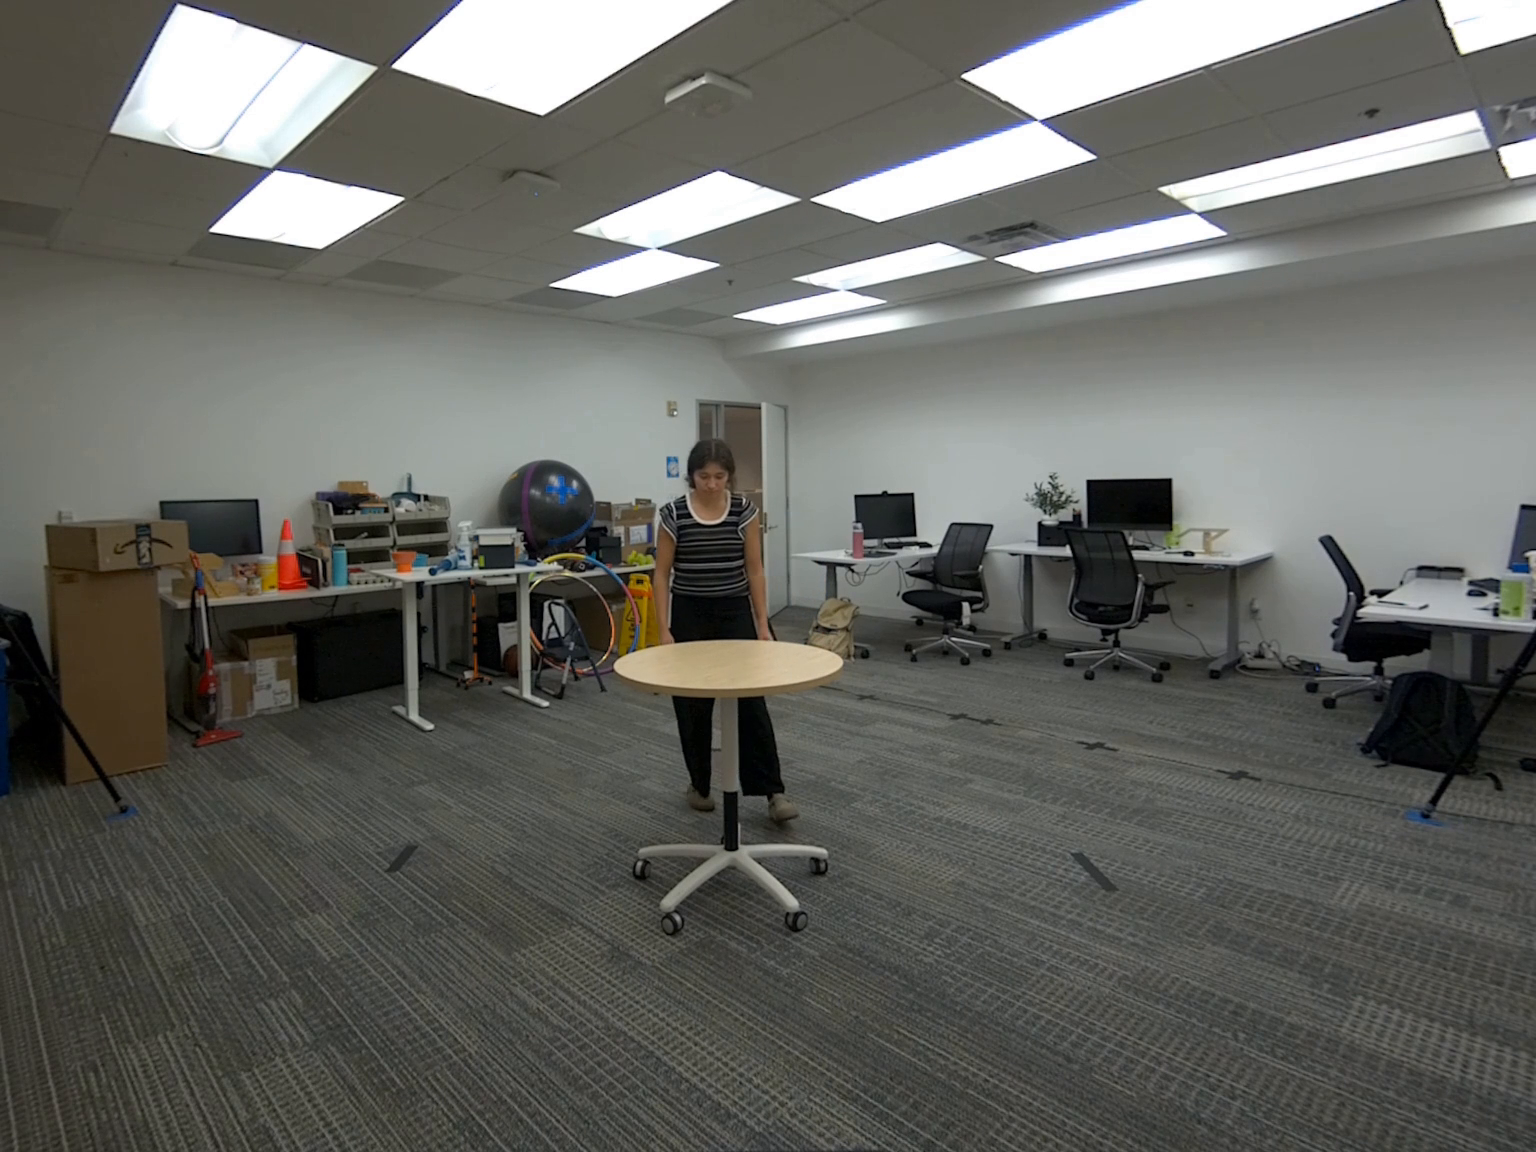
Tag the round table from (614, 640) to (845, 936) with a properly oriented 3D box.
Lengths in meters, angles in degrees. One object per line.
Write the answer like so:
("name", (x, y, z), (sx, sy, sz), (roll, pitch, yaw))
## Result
("round table", (-0.112, 0.681, 2.893), (0.784, 0.784, 0.789), (-2, 4, -2))
